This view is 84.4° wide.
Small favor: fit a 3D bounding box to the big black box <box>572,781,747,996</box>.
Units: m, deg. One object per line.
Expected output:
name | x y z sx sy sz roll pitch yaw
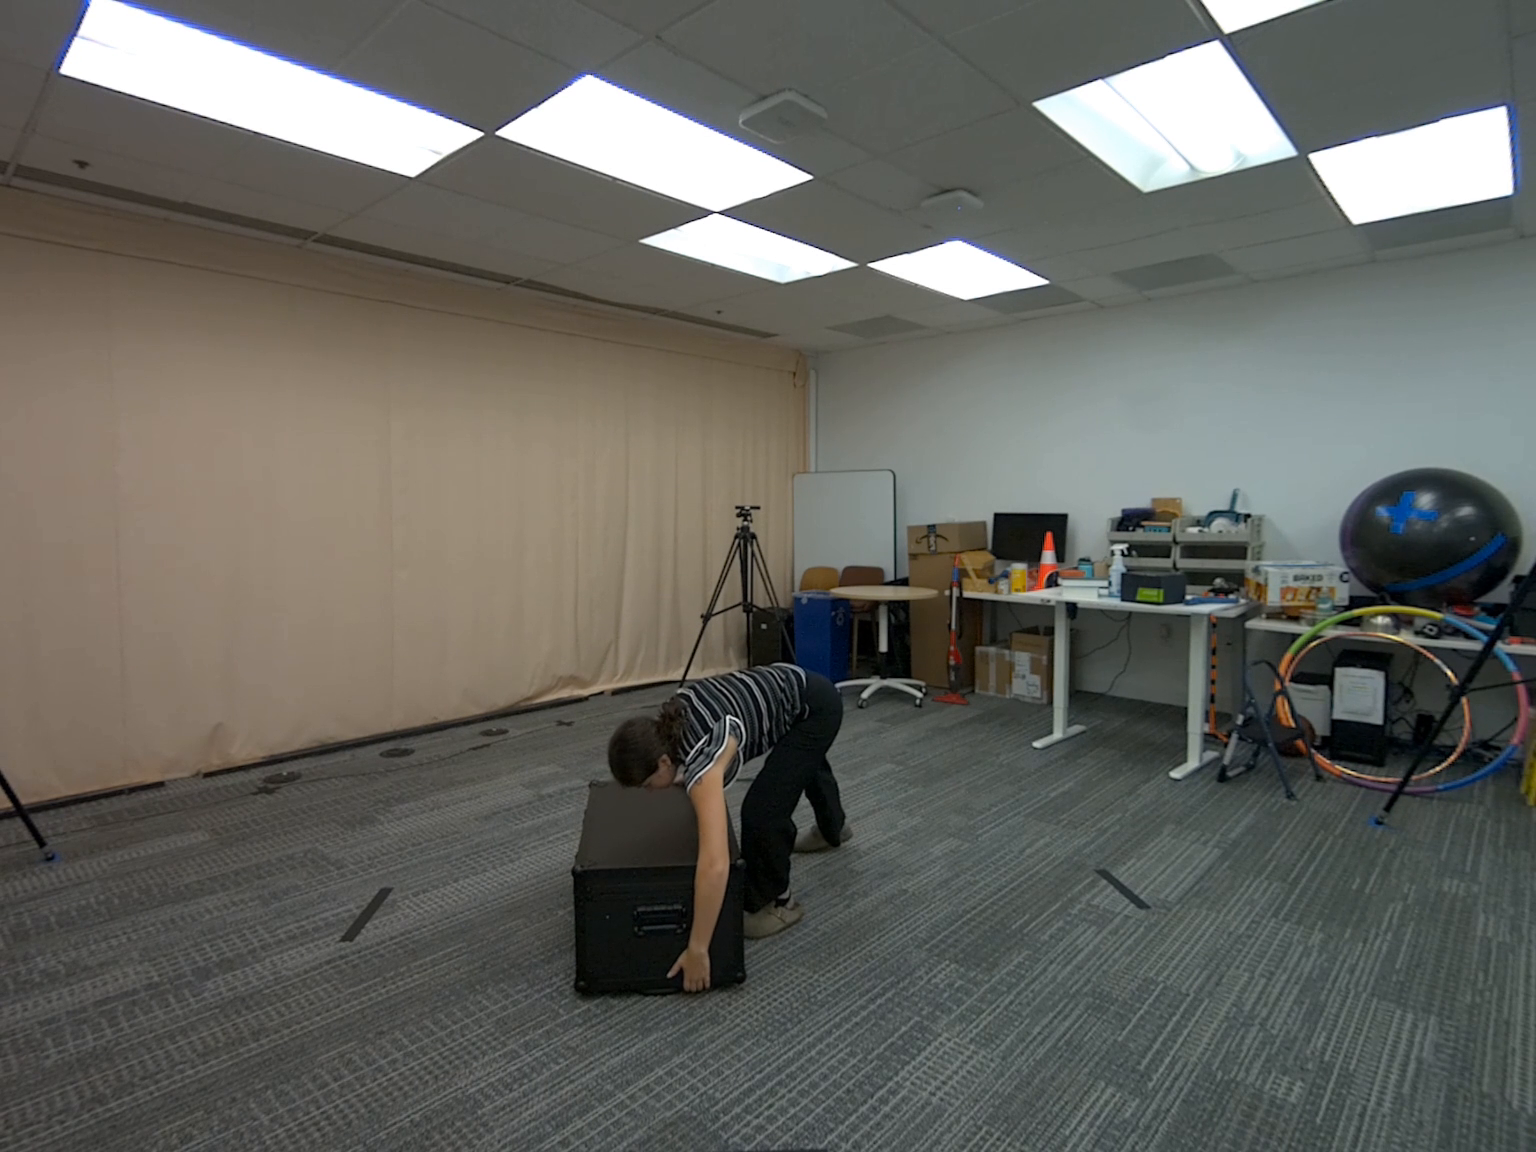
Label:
big black box | -0.367 0.972 2.804 0.518 0.395 0.870 -1 5 -7
